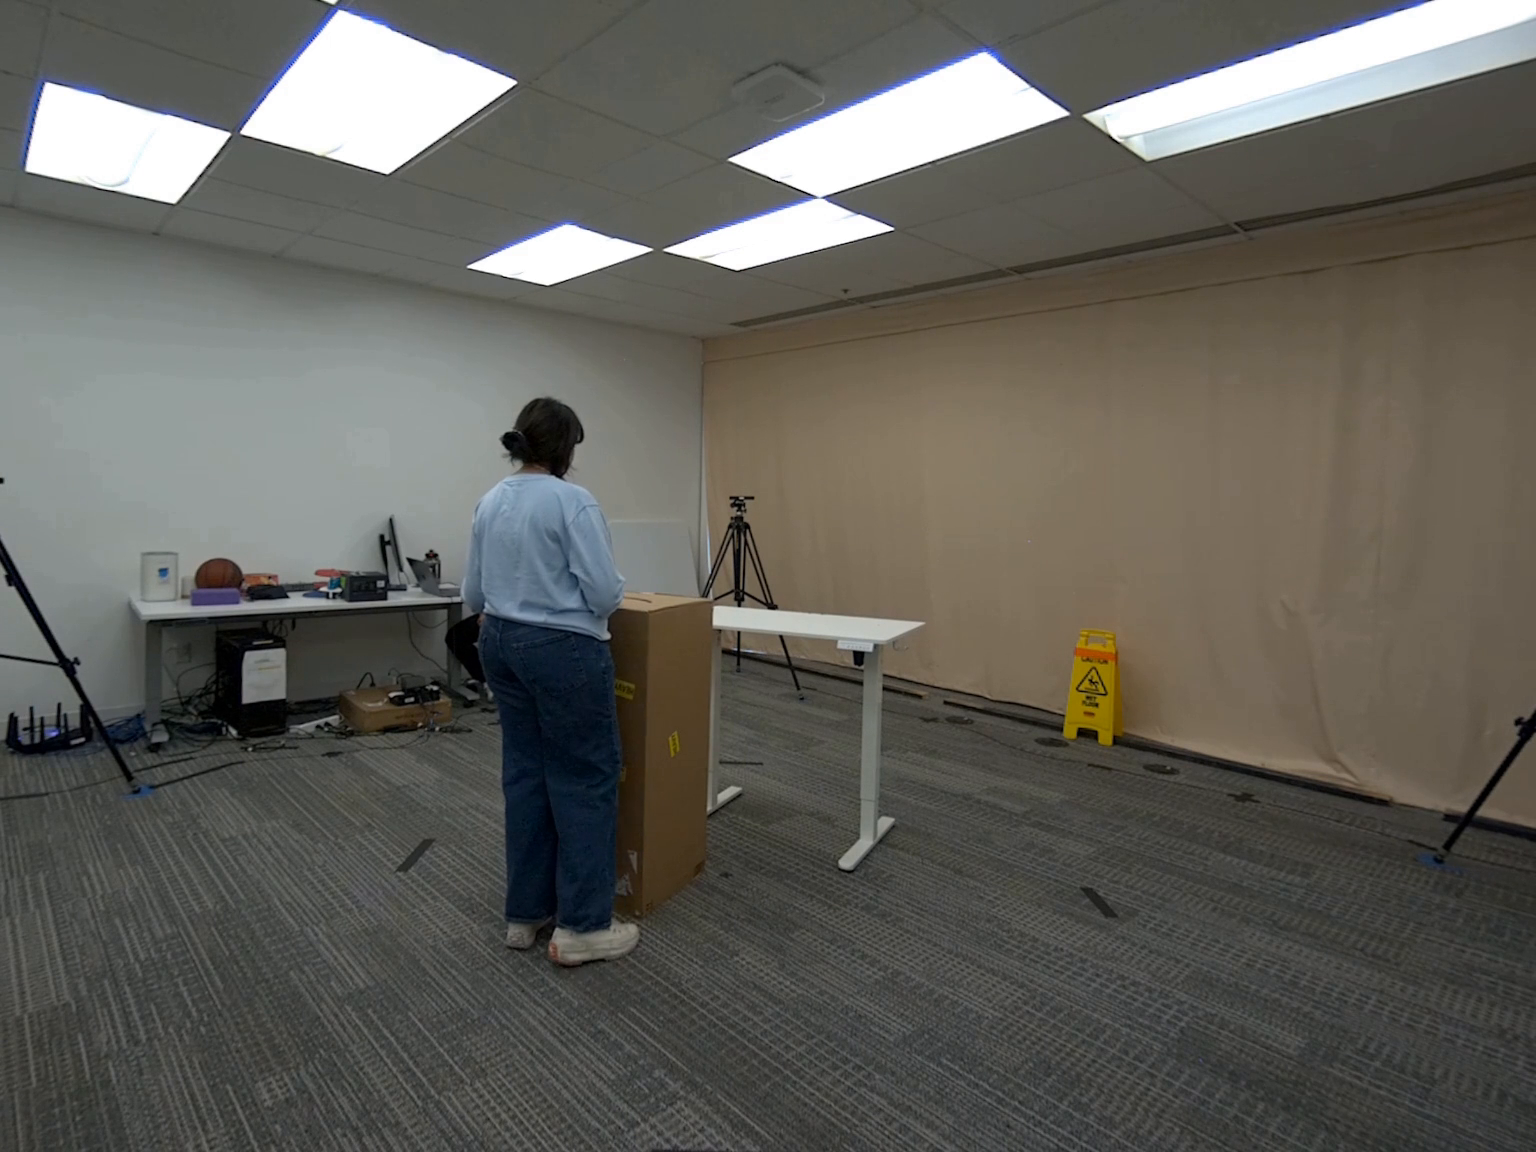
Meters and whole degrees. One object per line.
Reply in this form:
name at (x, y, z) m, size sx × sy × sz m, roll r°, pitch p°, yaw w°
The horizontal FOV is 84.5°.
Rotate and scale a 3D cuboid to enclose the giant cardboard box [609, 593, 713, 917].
giant cardboard box at (-0.569, 0.590, 3.062) m, size 0.590 × 1.023 × 0.418 m, roll 4°, pitch 4°, yaw 28°
